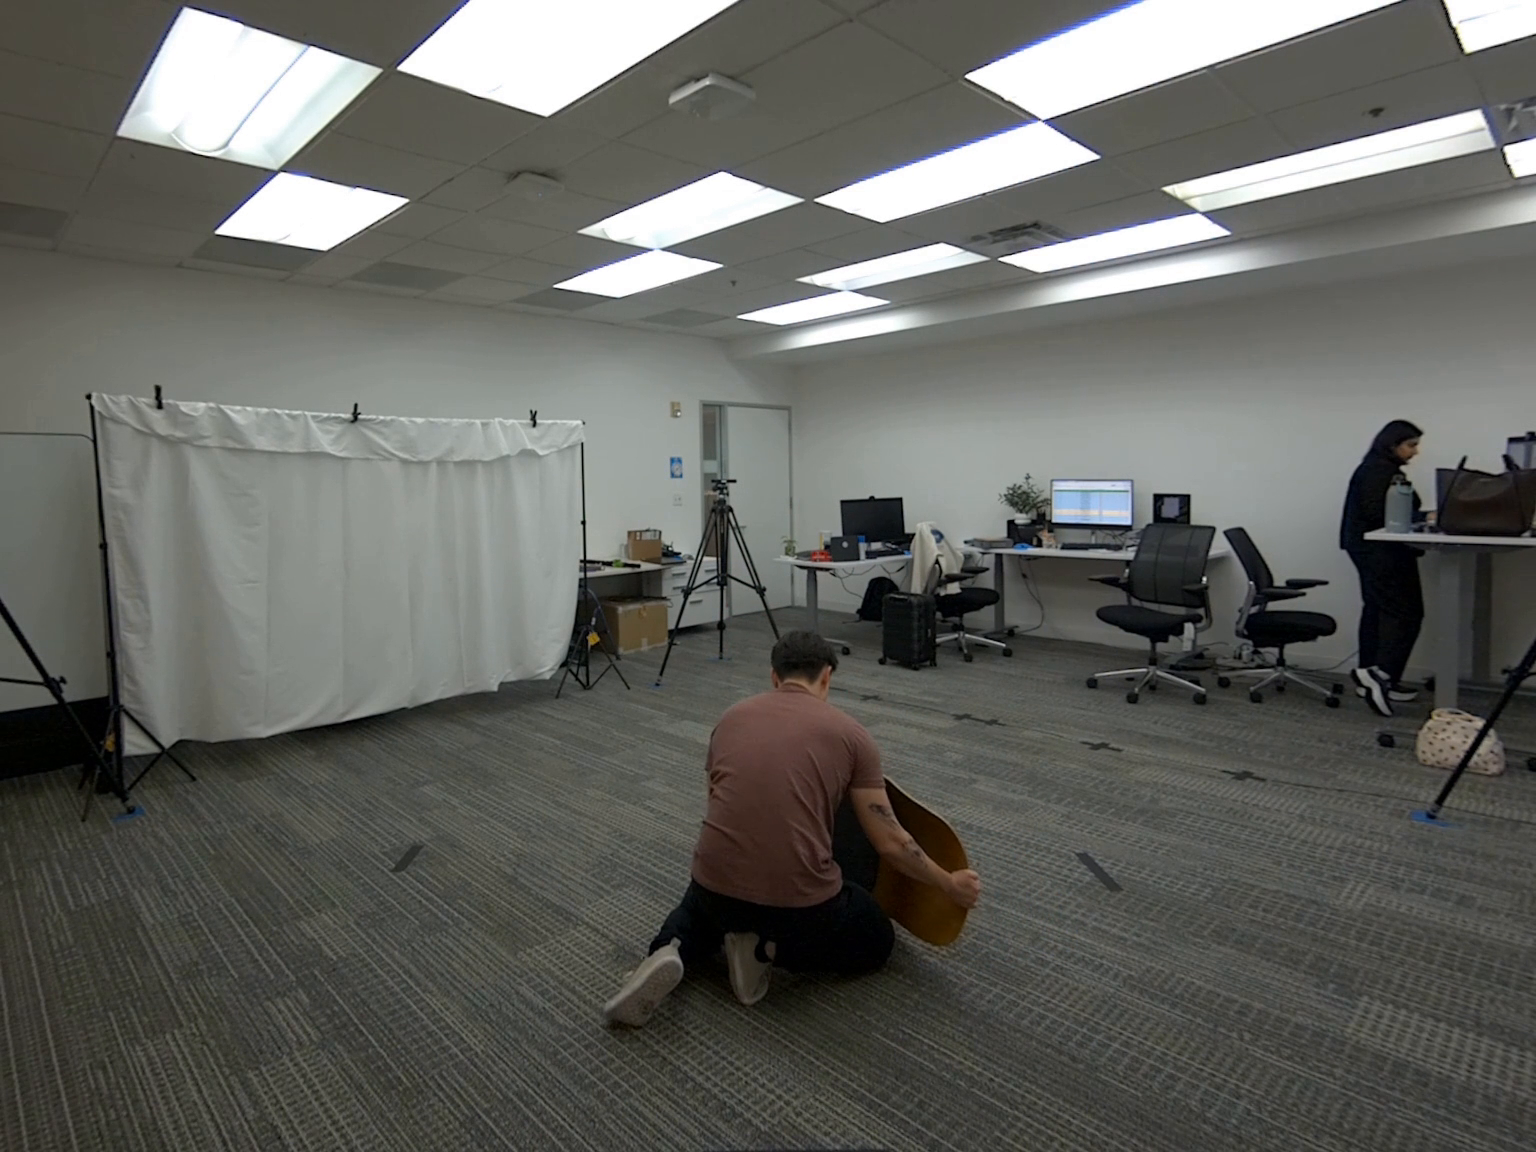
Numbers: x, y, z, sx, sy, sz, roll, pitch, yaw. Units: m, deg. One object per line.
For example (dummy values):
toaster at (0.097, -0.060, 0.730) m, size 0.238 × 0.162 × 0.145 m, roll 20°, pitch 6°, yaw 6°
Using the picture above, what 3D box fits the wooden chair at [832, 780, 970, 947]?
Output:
wooden chair at (0.184, 0.855, 2.739) m, size 0.515 × 0.476 × 0.895 m, roll -5°, pitch 6°, yaw -19°
